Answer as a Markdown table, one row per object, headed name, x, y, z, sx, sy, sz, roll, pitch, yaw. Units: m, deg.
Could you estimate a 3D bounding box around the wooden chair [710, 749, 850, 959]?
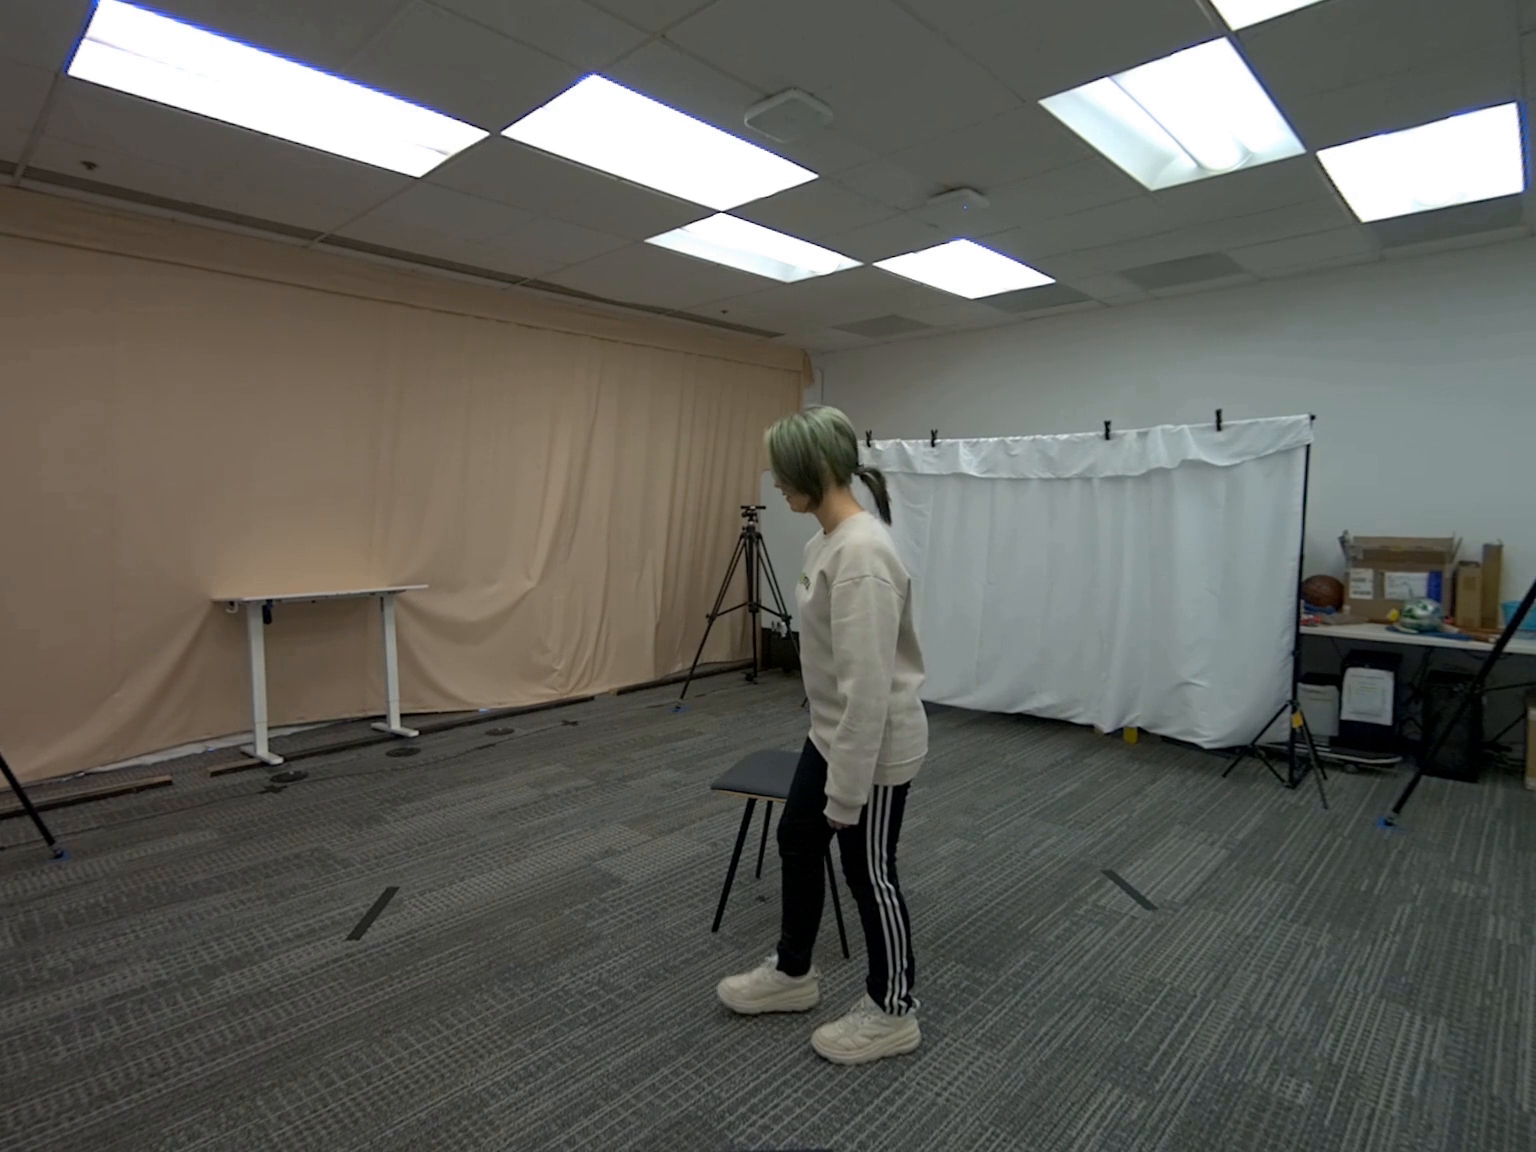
| name | x | y | z | sx | sy | sz | roll | pitch | yaw |
| --- | --- | --- | --- | --- | --- | --- | --- | --- | --- |
| wooden chair | 0.094 | 0.728 | 2.846 | 0.535 | 0.875 | 0.469 | 6 | 5 | 20 |
